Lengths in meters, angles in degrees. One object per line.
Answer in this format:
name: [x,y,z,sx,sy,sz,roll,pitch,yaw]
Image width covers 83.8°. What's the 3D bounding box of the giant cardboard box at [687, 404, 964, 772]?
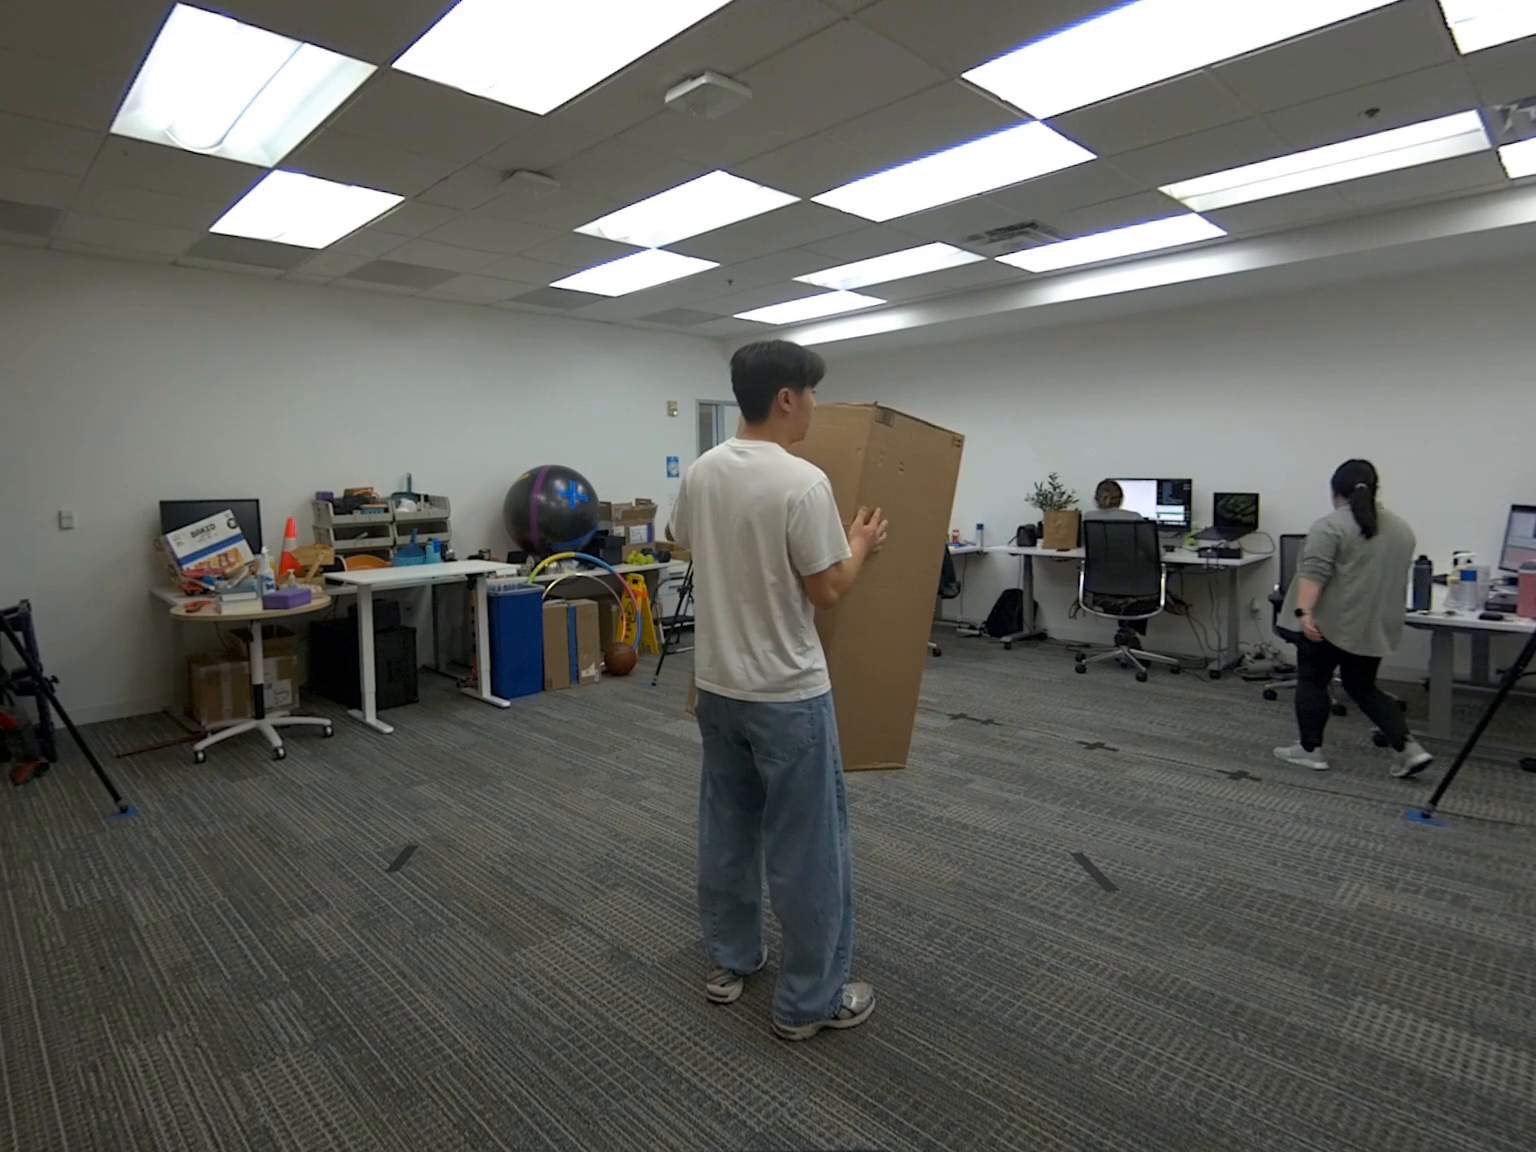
giant cardboard box: [0.175,0.016,2.654,0.412,1.026,0.596,10,0,-40]
